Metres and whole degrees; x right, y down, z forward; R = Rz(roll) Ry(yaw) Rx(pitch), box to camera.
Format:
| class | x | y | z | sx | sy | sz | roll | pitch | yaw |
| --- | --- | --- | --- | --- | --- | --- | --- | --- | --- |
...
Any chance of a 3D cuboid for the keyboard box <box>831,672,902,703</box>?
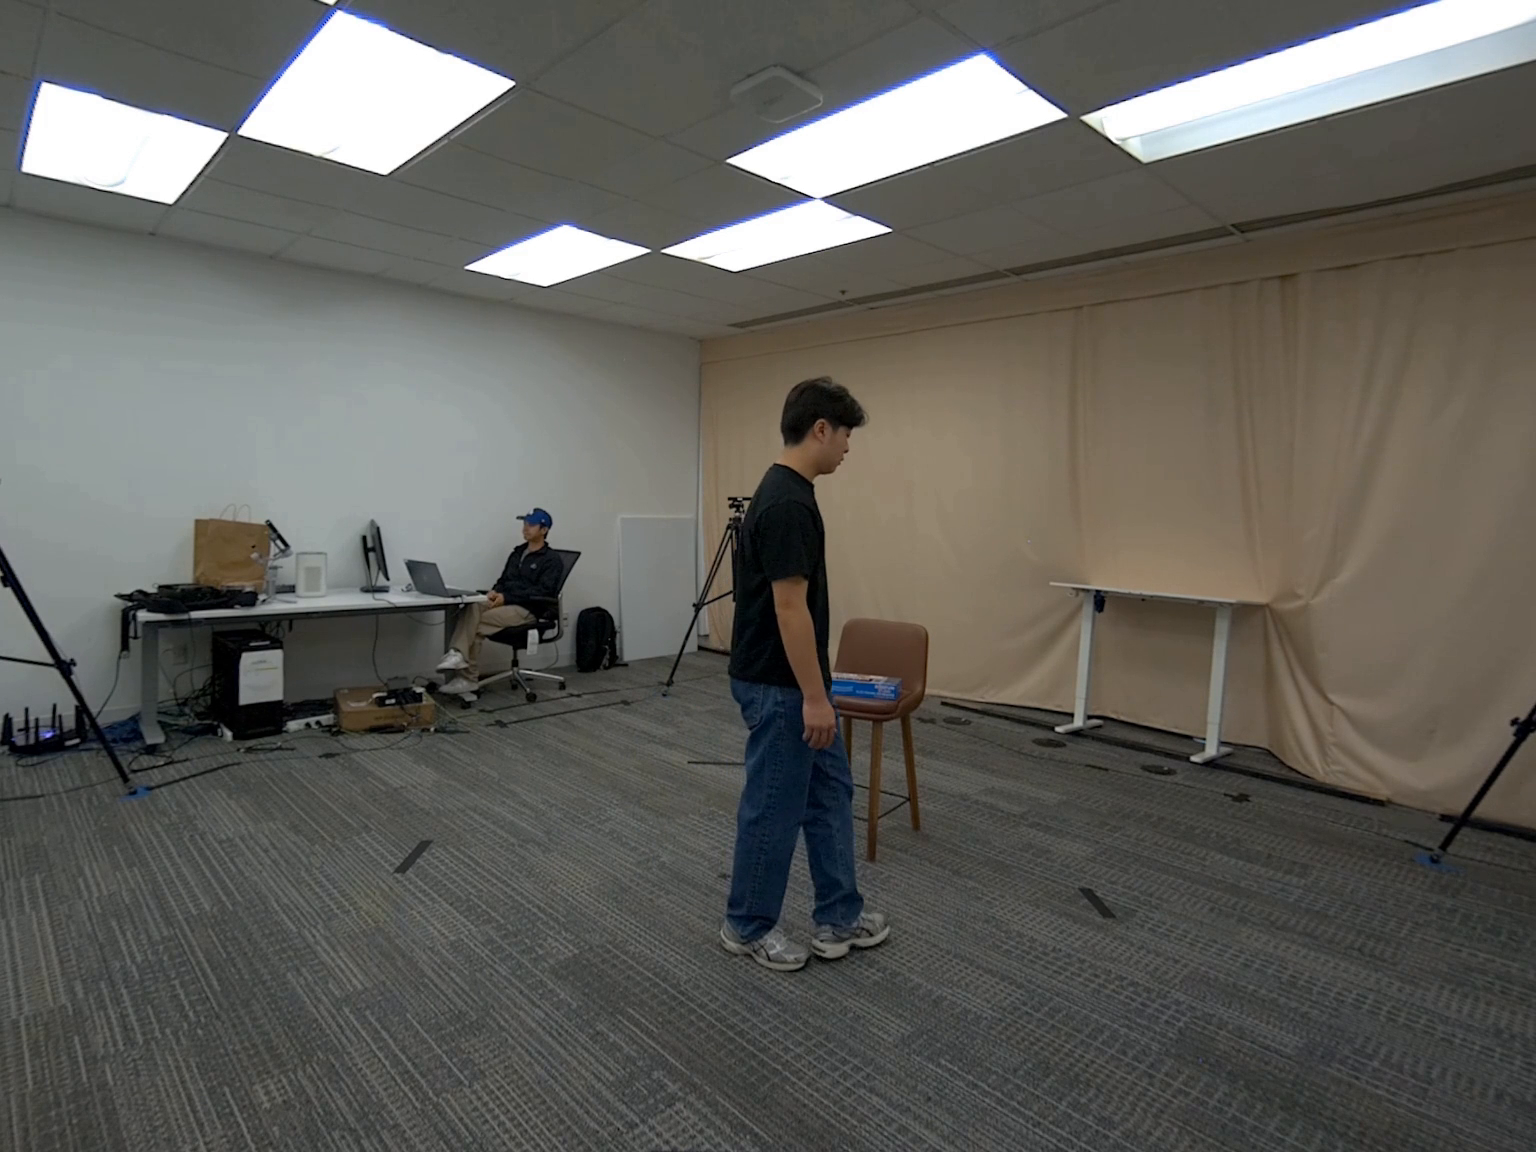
| class | x | y | z | sx | sy | sz | roll | pitch | yaw |
| --- | --- | --- | --- | --- | --- | --- | --- | --- | --- |
| keyboard box | 0.309 | 0.441 | 3.466 | 0.443 | 0.059 | 0.173 | 3 | 3 | 19 |
